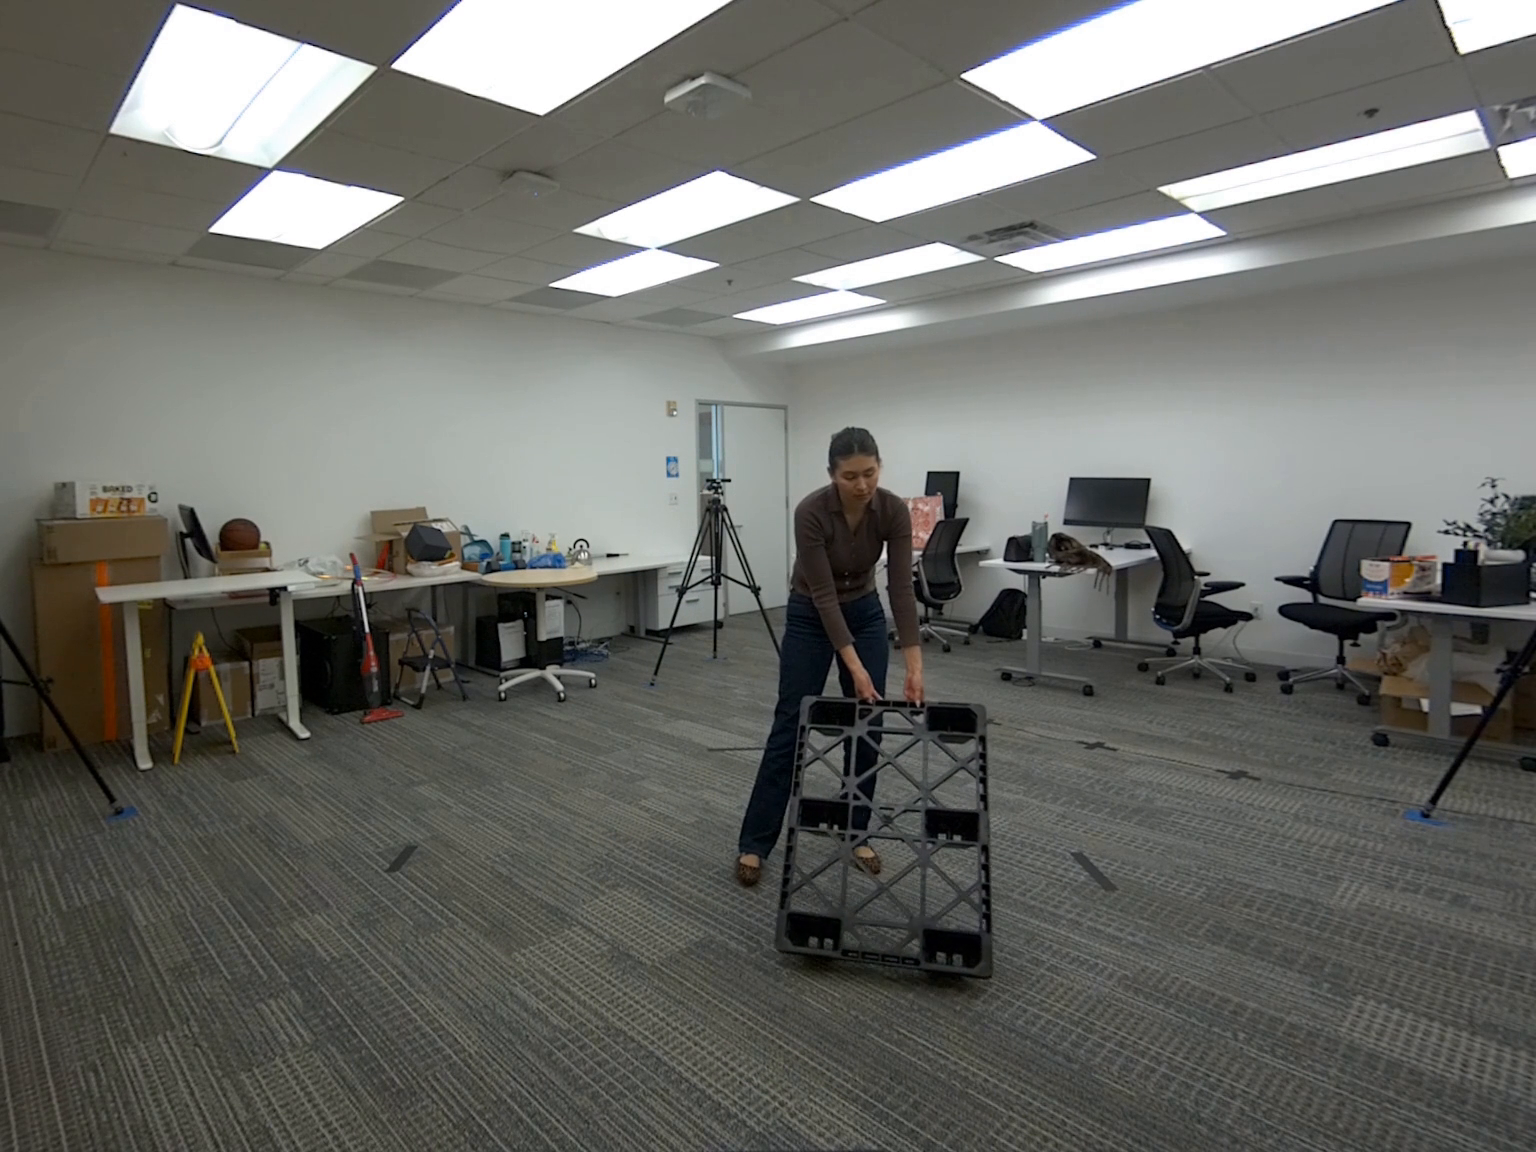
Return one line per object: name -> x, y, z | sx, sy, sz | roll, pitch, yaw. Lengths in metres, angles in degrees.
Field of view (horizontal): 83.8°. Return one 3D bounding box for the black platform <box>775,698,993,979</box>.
black platform -> 0.380, 0.769, 2.633 | 0.614, 0.822, 0.138 | 0, -35, 14
